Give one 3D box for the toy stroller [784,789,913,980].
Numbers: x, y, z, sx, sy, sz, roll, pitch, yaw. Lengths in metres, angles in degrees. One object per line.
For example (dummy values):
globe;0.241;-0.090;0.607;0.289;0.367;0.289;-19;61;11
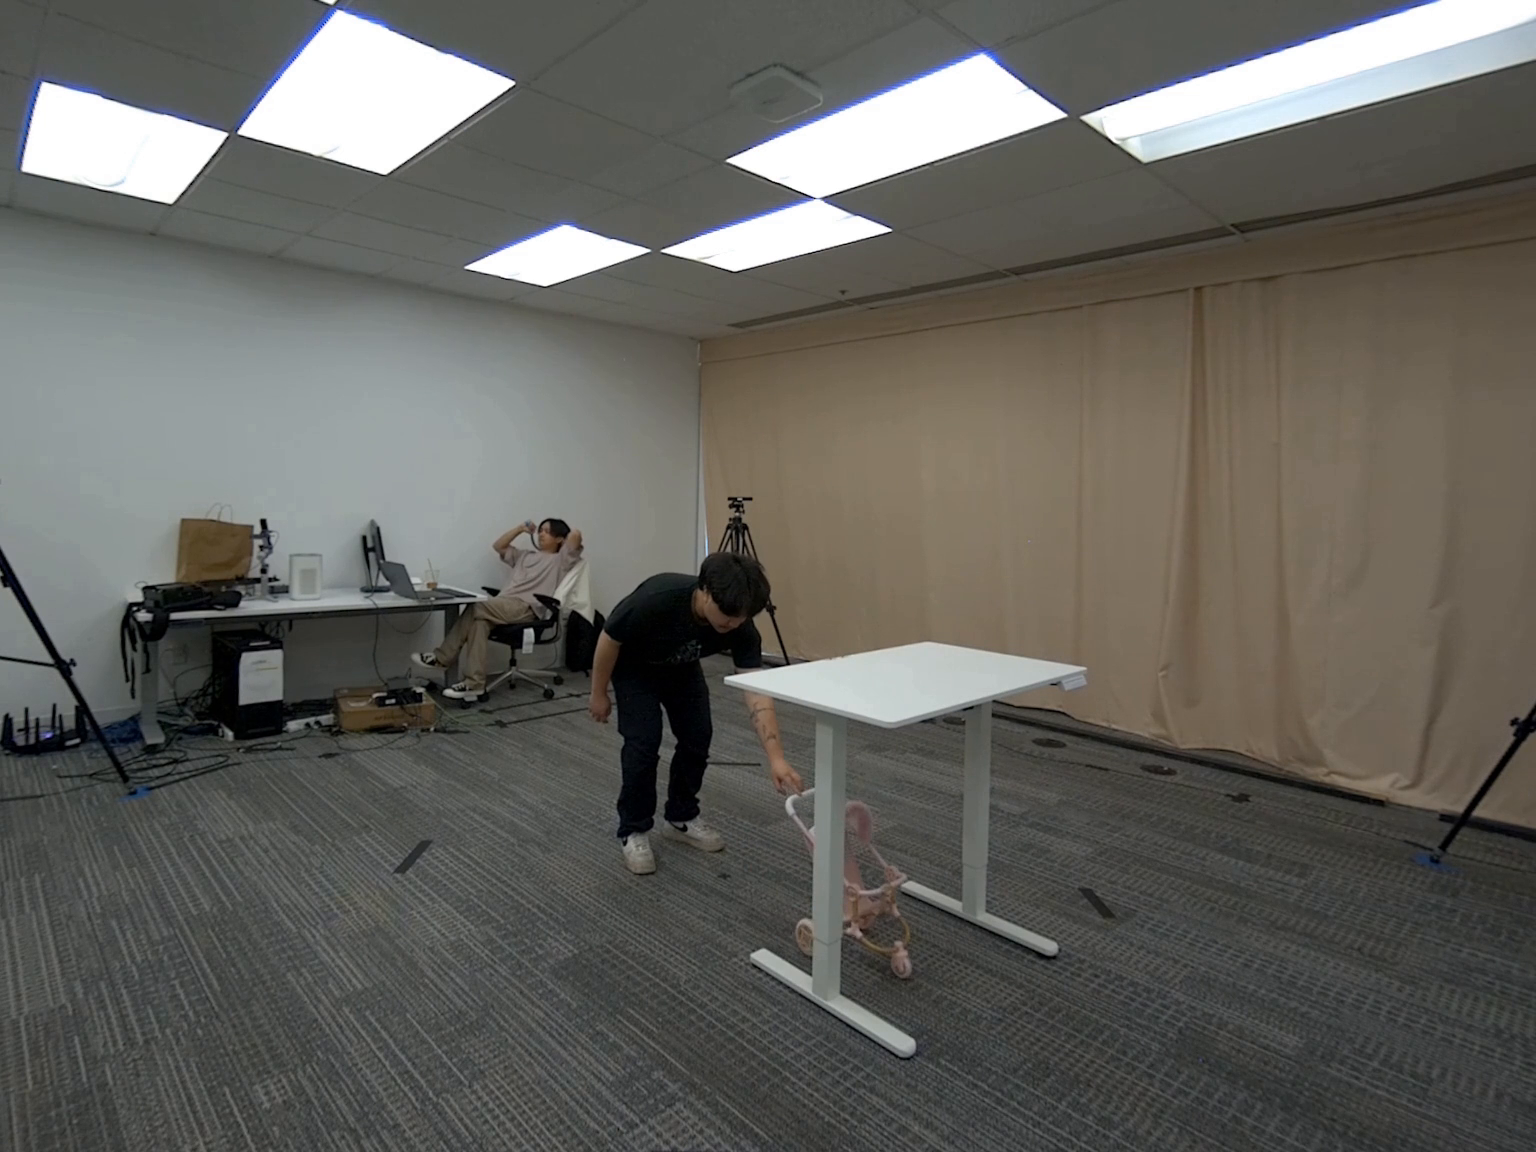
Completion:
toy stroller;0.256;0.938;2.601;0.275;0.539;0.346;-2;-11;-40
